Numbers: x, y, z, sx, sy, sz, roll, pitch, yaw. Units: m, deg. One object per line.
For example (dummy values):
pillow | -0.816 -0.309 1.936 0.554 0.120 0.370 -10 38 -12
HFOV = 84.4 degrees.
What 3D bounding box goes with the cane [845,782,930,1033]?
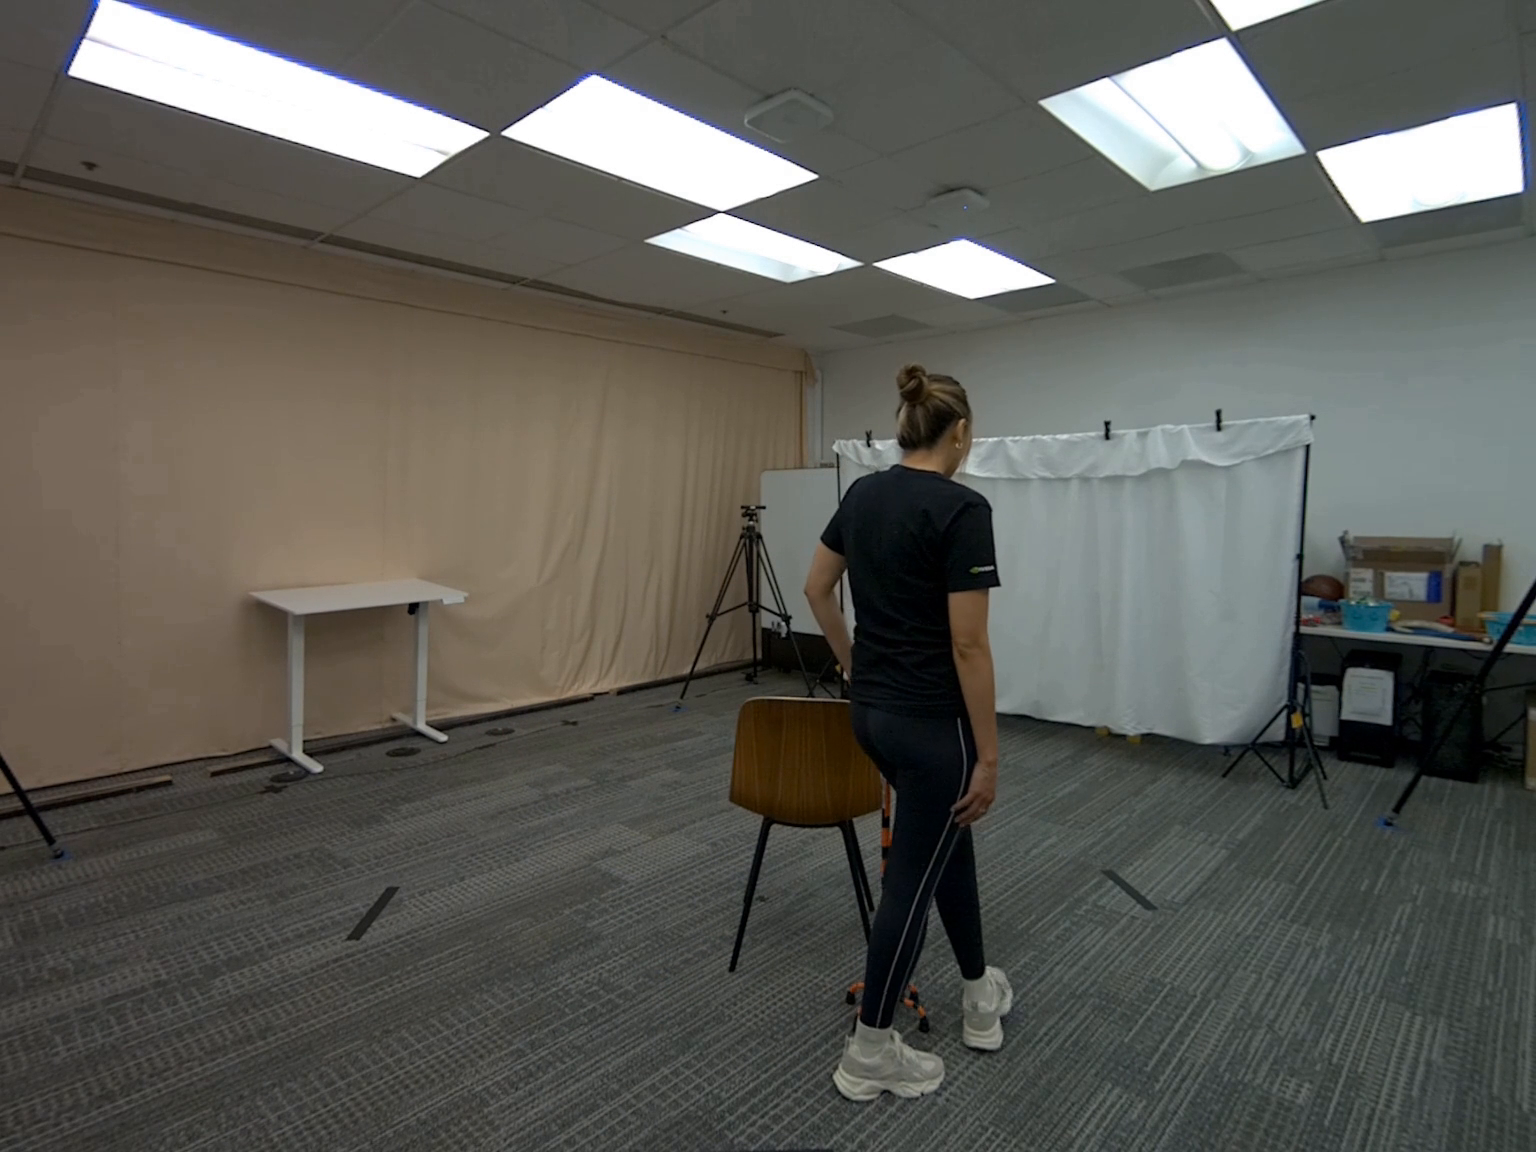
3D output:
cane | 0.318 0.750 2.268 0.205 0.905 0.153 -3 4 -5
